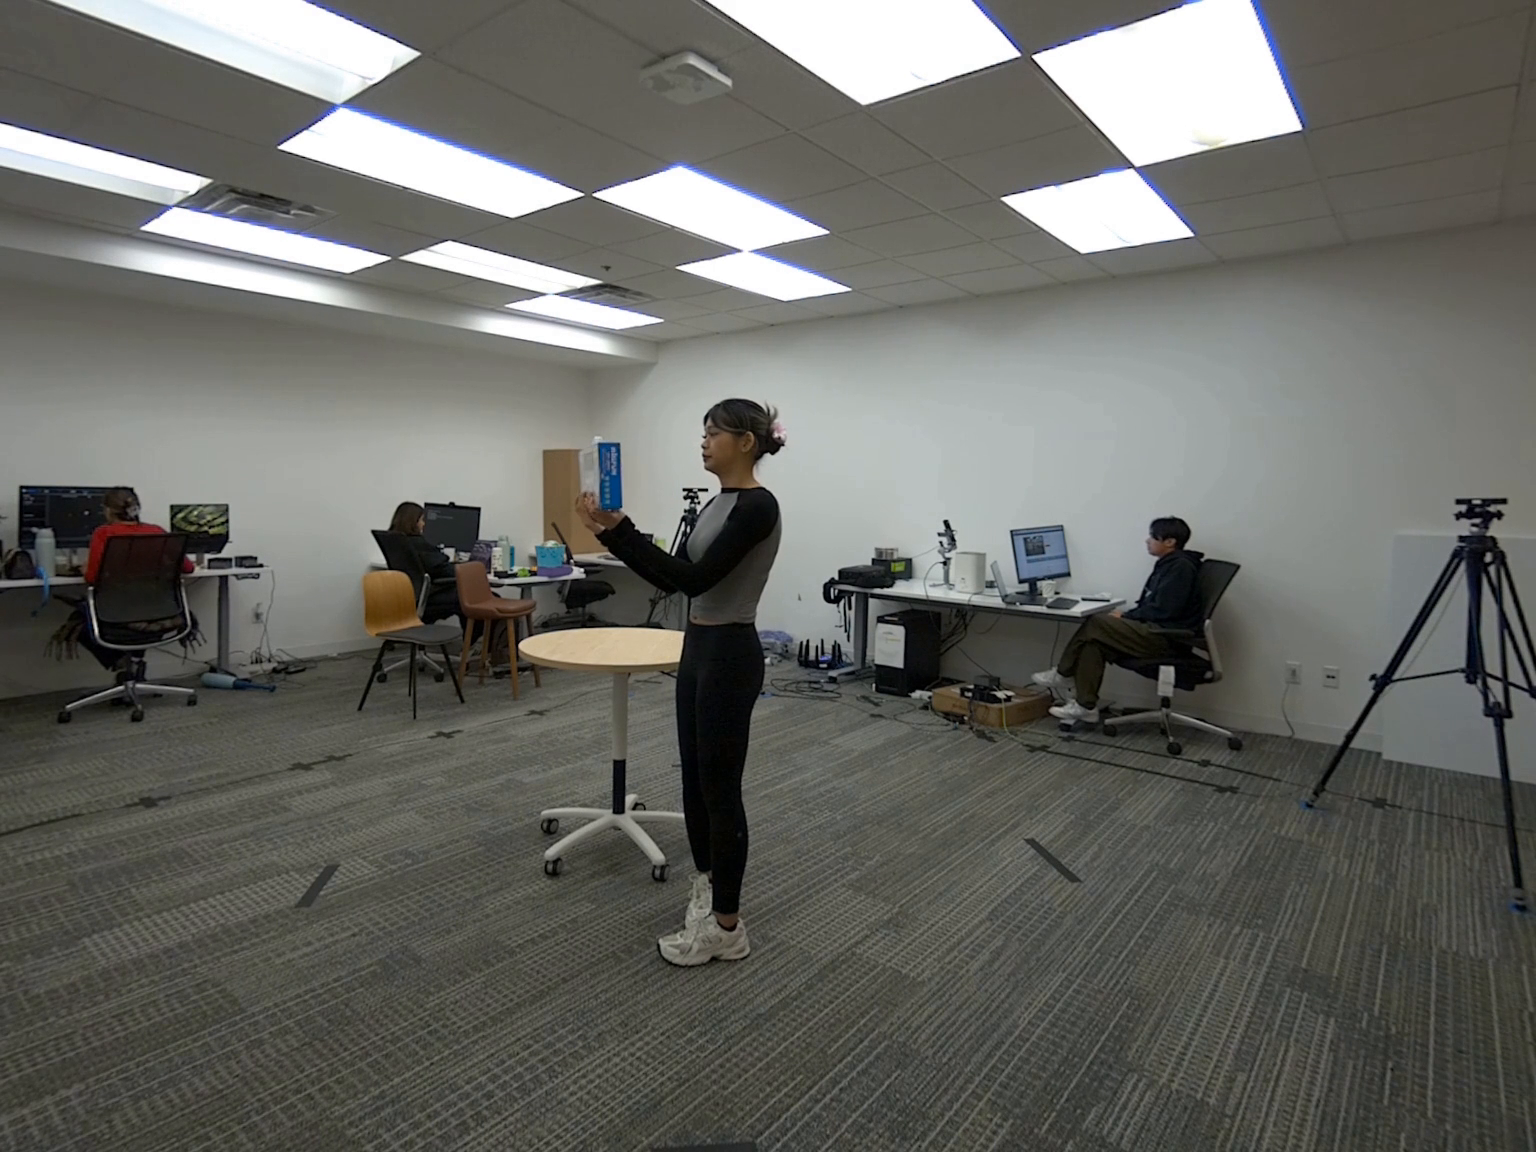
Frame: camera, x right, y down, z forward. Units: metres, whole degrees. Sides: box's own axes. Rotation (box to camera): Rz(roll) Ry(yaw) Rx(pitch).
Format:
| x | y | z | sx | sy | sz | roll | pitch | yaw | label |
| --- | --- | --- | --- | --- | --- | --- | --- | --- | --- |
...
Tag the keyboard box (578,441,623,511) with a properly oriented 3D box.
| x | y | z | sx | sy | sz | roll | pitch | yaw | label |
| --- | --- | --- | --- | --- | --- | --- | --- | --- | --- |
| -0.482 | -0.284 | 2.407 | 0.058 | 0.175 | 0.446 | -4 | 7 | -17 | keyboard box |
